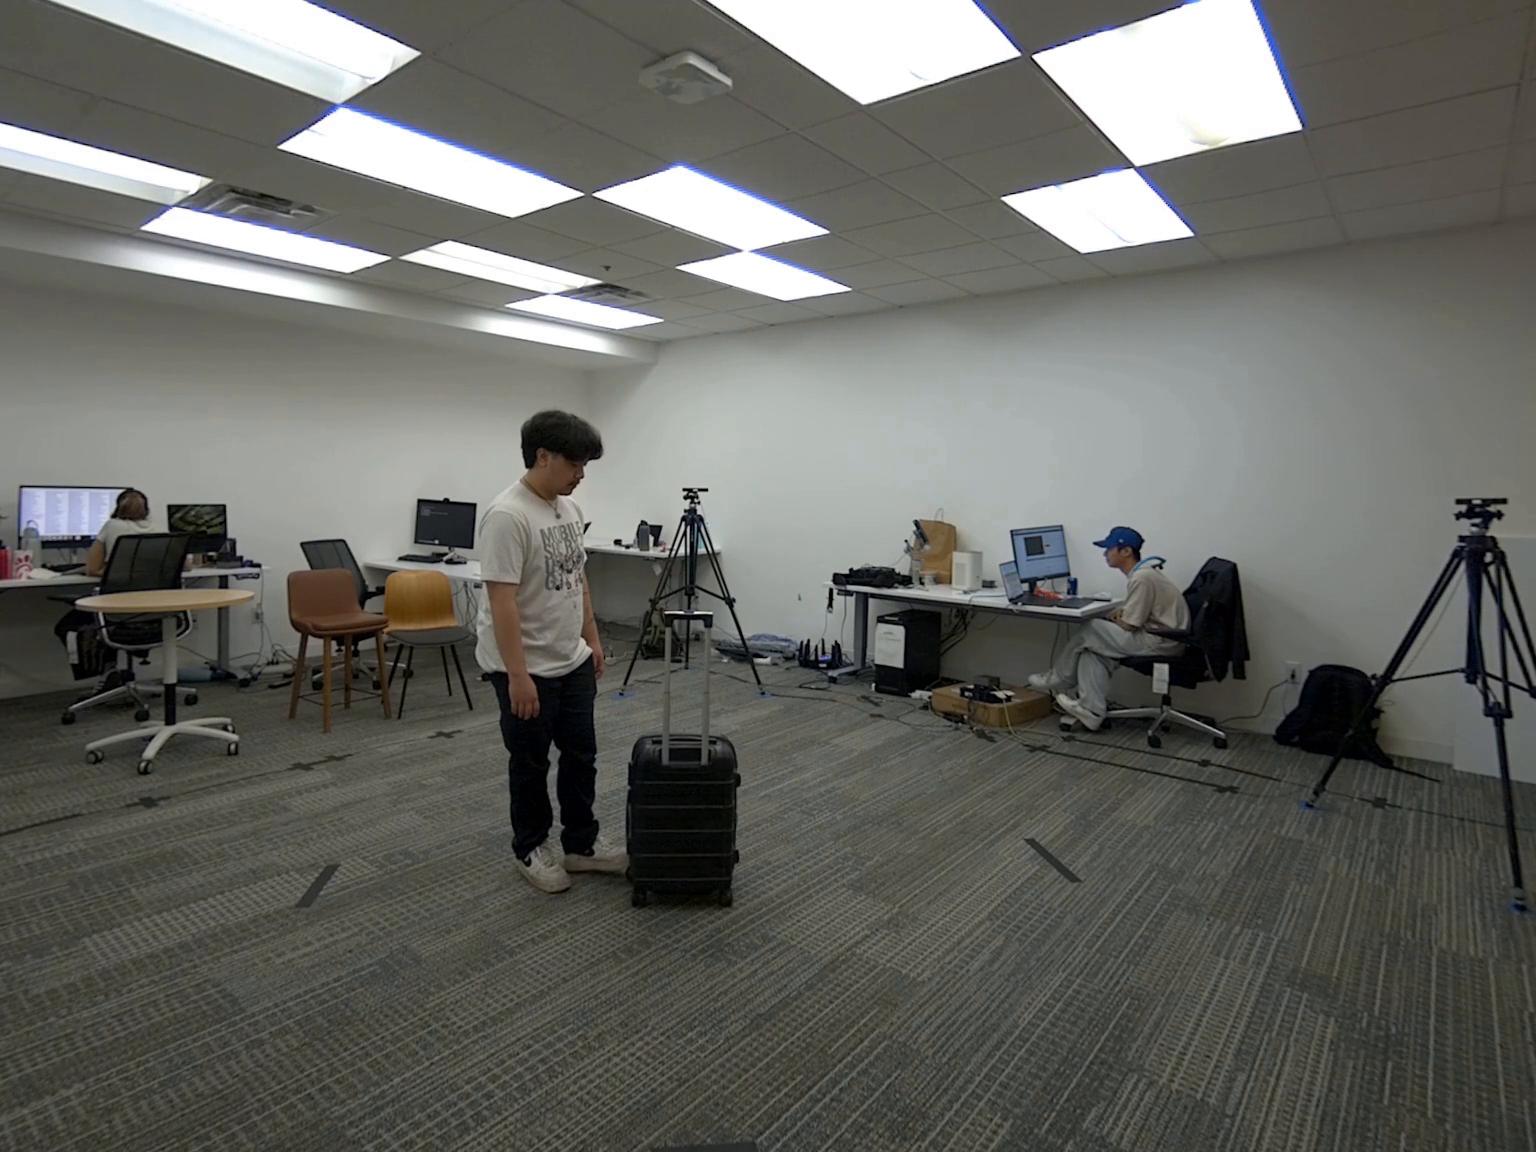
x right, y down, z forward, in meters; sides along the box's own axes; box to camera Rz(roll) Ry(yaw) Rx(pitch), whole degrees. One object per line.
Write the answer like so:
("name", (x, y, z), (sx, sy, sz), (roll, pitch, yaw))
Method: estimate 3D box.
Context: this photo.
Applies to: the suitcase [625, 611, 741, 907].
("suitcase", (-0.292, 0.612, 2.894), (0.382, 0.978, 0.258), (1, 0, -5))
